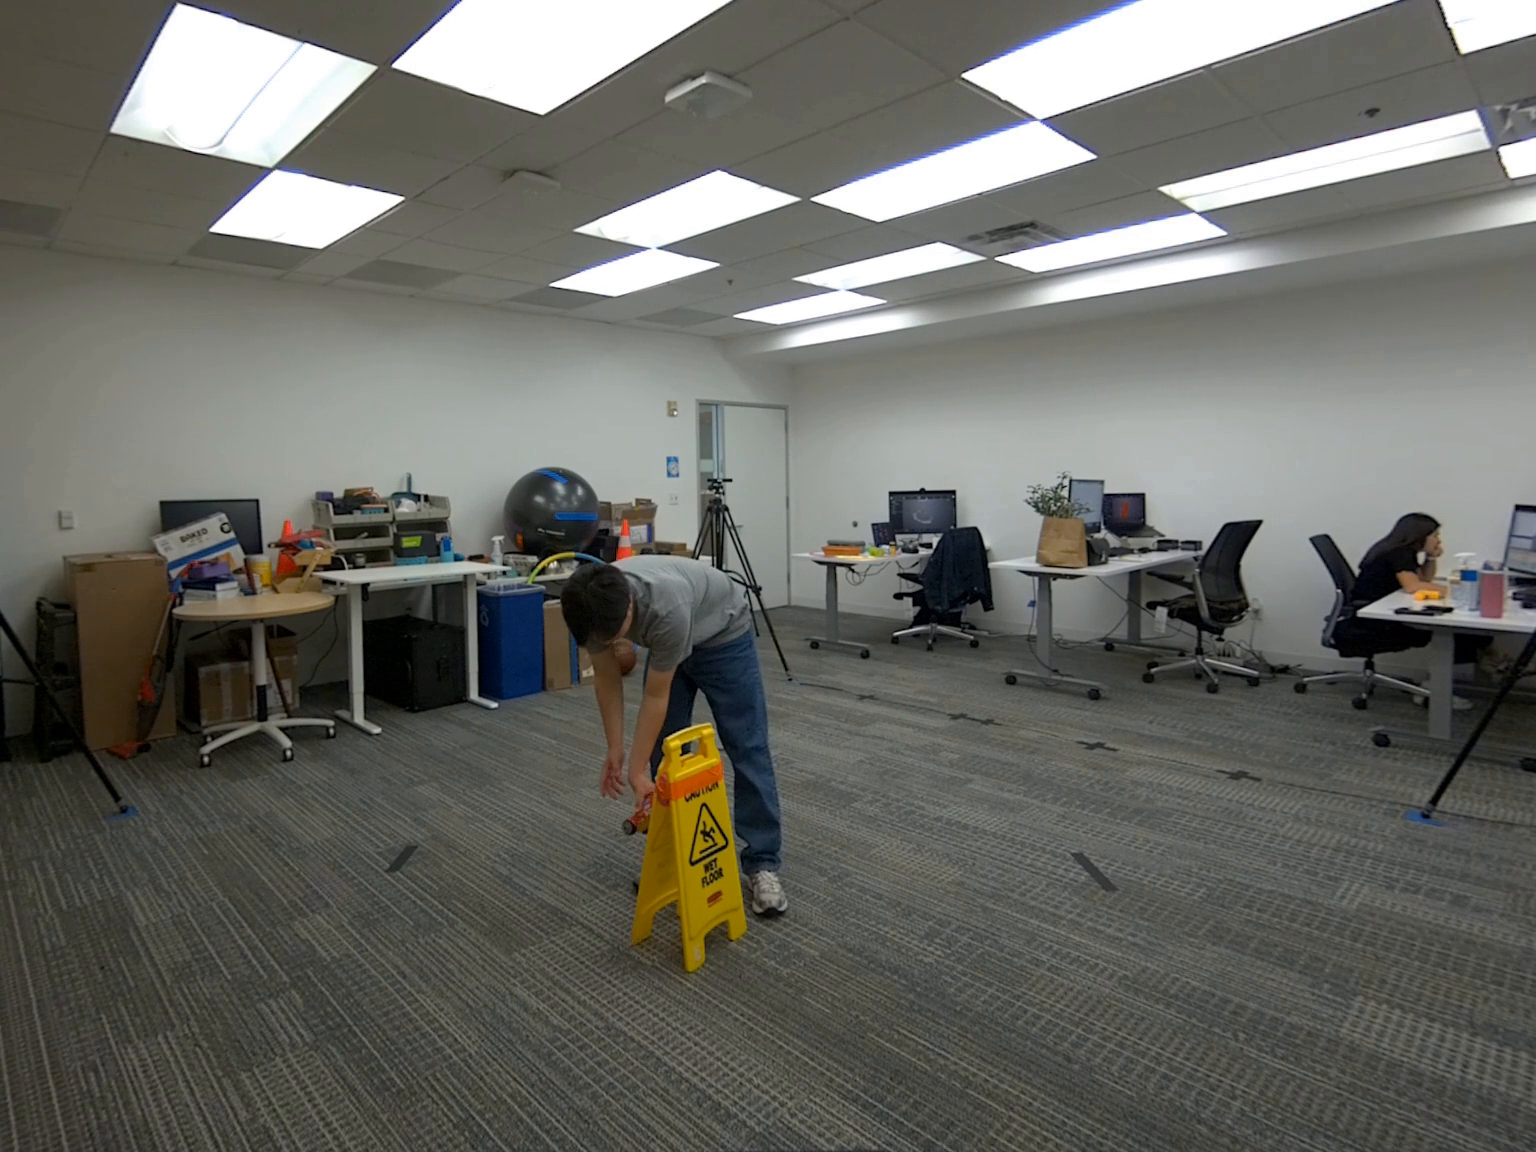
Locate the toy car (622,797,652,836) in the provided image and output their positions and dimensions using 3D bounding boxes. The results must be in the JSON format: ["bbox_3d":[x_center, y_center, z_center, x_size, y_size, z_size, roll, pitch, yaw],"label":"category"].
[{"bbox_3d":[-0.317,0.738,2.657,0.125,0.254,0.086,21,19,-51],"label":"toy car"}]
